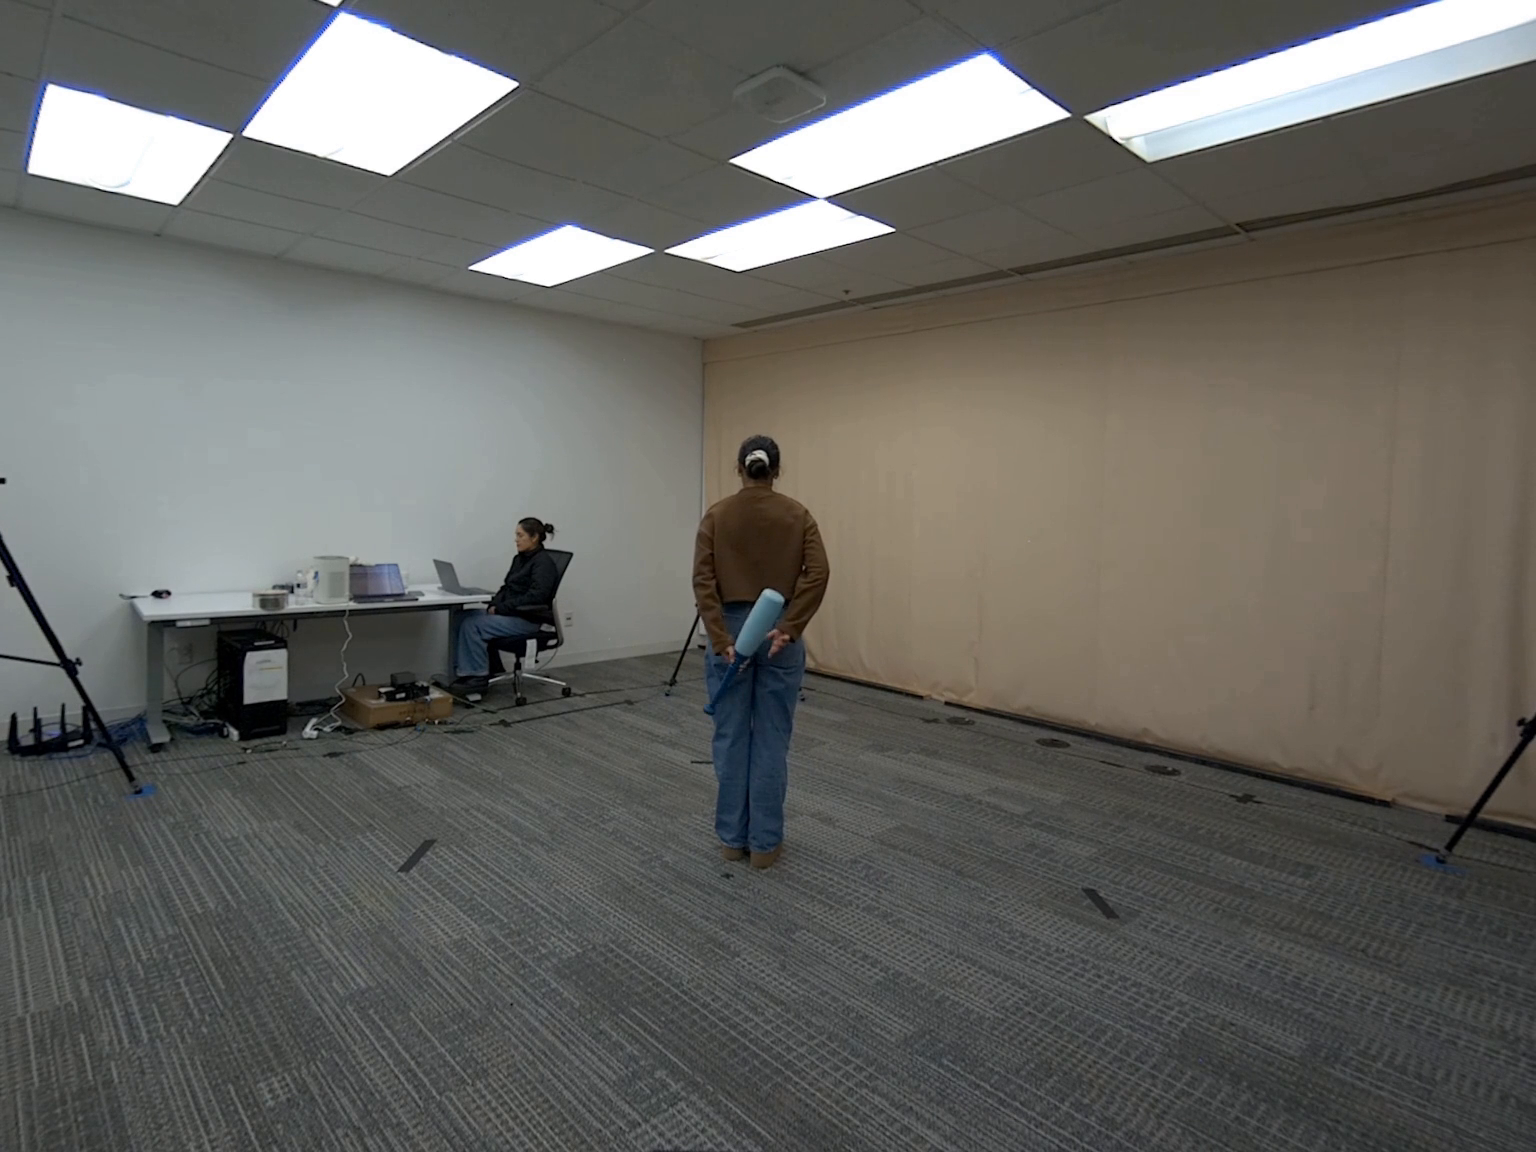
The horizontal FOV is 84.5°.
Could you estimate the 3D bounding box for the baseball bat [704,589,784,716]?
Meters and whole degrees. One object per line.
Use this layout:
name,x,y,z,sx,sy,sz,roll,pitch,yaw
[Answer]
baseball bat,-0.118,0.294,3.031,0.088,0.540,0.090,25,20,-11
